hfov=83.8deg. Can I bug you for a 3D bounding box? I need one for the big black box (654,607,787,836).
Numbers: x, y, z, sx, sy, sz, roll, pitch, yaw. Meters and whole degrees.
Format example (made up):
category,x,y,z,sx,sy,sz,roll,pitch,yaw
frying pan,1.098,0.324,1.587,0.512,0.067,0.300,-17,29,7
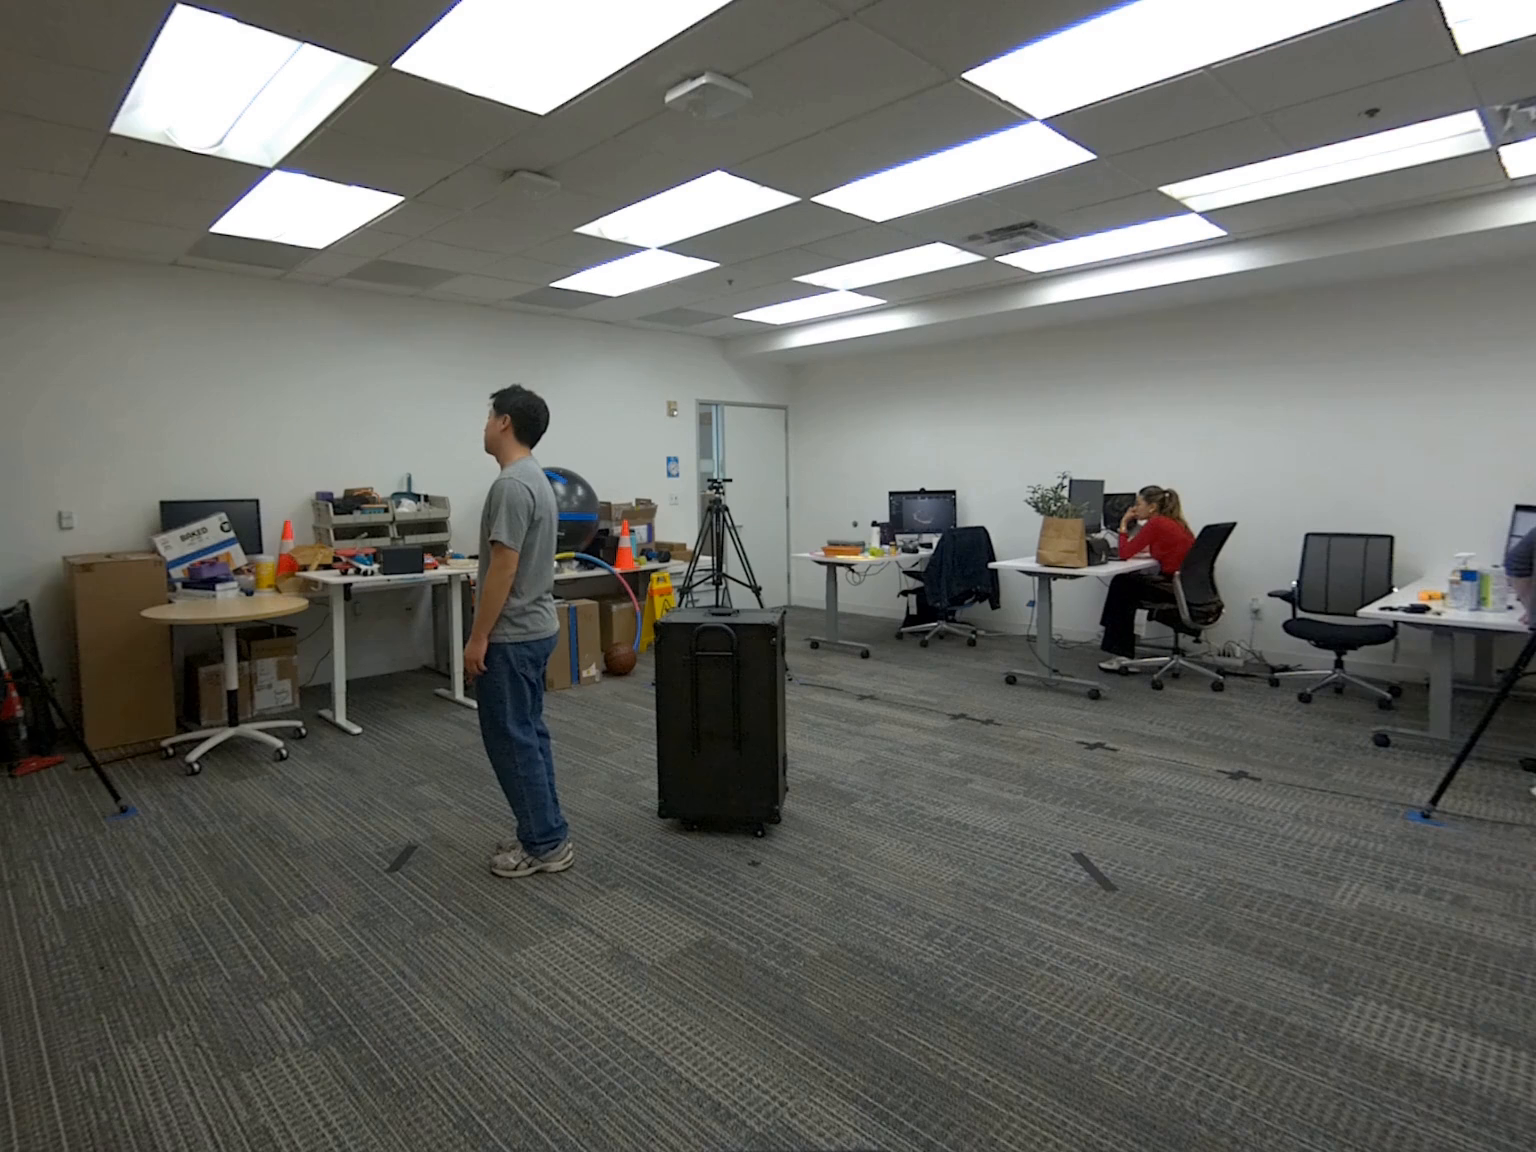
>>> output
category,x,y,z,sx,sy,sz,roll,pitch,yaw
big black box,-0.174,0.581,3.468,0.526,0.858,0.394,1,5,9
